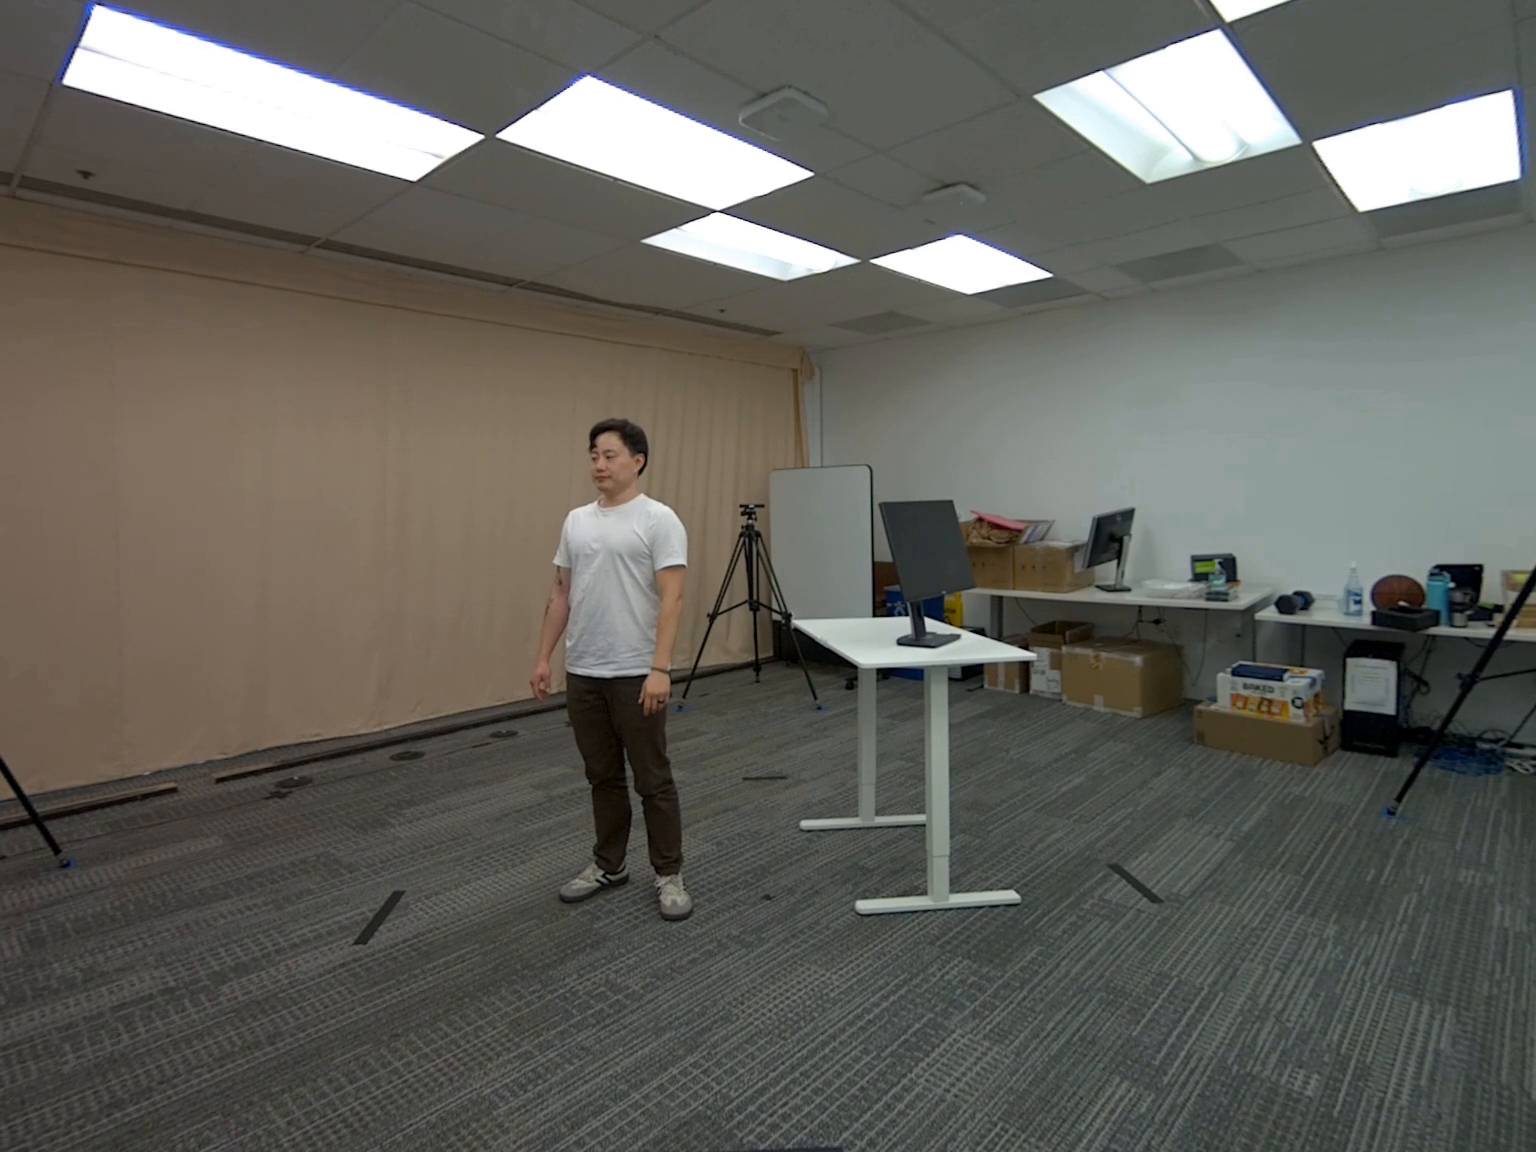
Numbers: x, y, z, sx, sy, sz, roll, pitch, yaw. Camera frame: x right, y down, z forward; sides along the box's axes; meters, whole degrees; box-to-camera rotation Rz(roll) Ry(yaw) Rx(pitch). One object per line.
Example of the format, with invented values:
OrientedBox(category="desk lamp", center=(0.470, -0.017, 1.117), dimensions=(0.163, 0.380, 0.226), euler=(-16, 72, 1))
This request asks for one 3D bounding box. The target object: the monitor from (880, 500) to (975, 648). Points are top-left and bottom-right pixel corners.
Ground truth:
OrientedBox(category="monitor", center=(0.582, -0.011, 3.073), dimensions=(0.193, 0.522, 0.523), euler=(-2, 3, 37))
